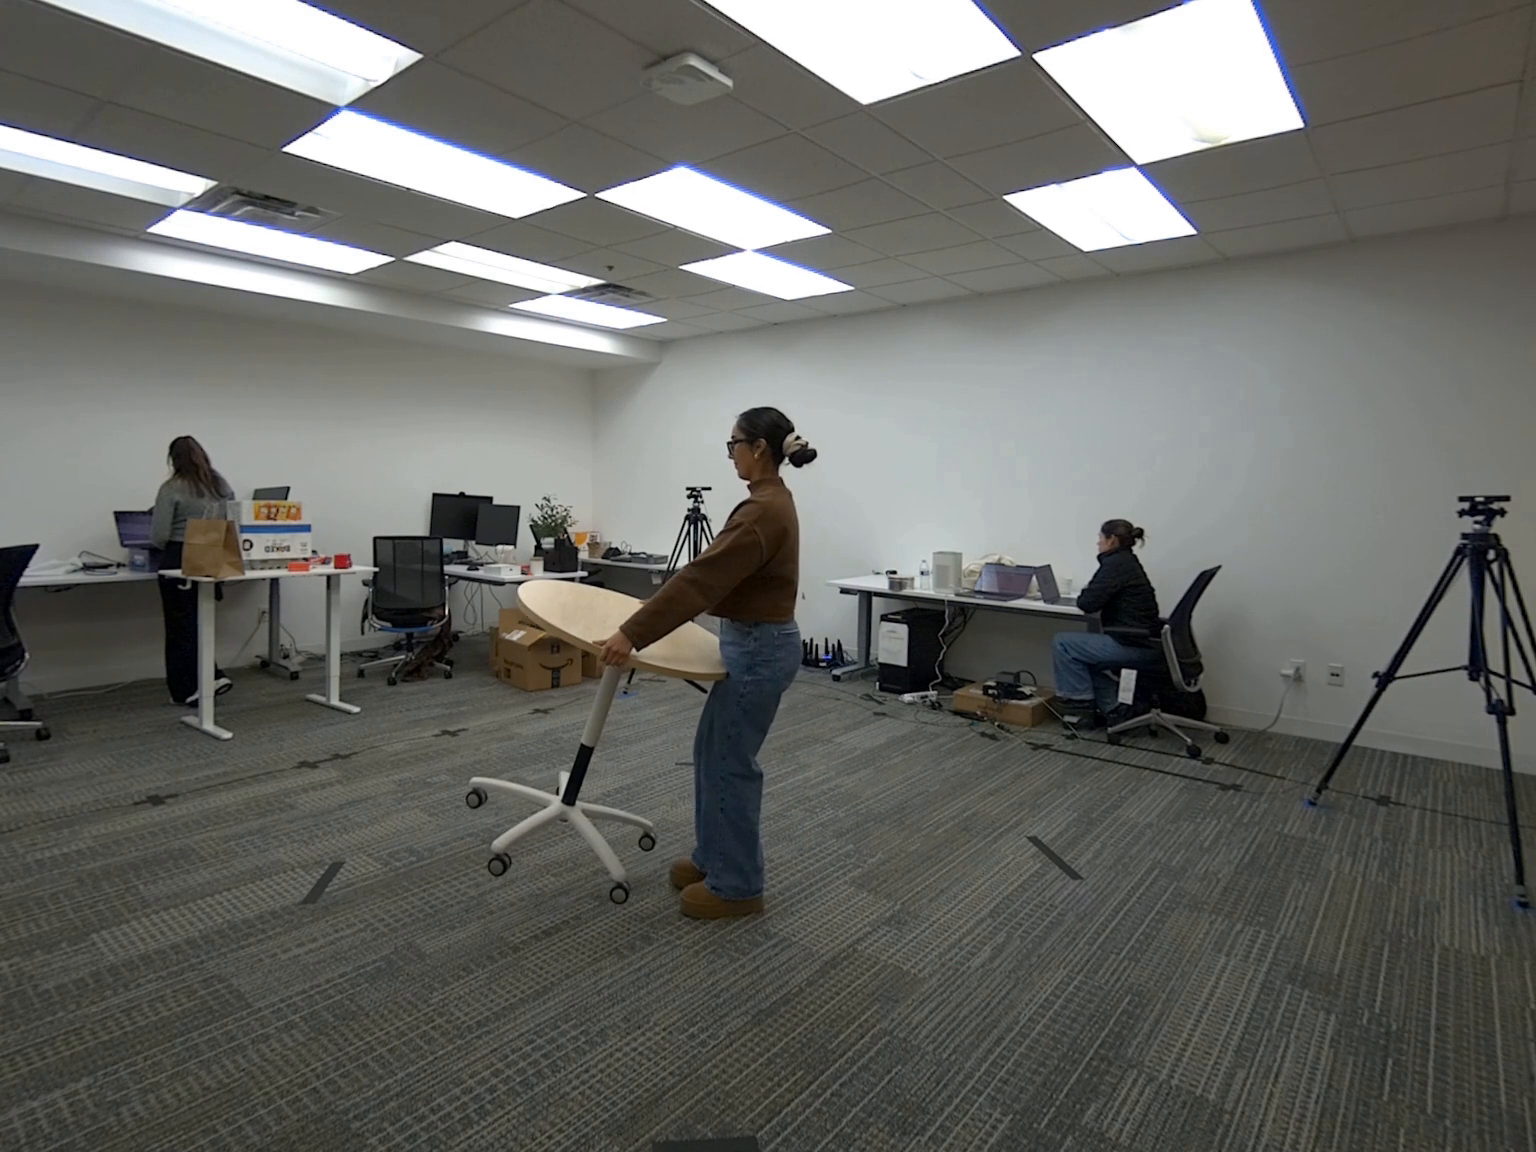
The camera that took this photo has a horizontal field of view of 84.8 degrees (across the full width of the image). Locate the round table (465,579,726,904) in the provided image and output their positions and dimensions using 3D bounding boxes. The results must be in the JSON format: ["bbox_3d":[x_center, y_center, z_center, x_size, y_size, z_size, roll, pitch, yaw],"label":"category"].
[{"bbox_3d":[-0.615,0.530,2.864,0.782,0.784,0.791,19,6,-4],"label":"round table"}]
